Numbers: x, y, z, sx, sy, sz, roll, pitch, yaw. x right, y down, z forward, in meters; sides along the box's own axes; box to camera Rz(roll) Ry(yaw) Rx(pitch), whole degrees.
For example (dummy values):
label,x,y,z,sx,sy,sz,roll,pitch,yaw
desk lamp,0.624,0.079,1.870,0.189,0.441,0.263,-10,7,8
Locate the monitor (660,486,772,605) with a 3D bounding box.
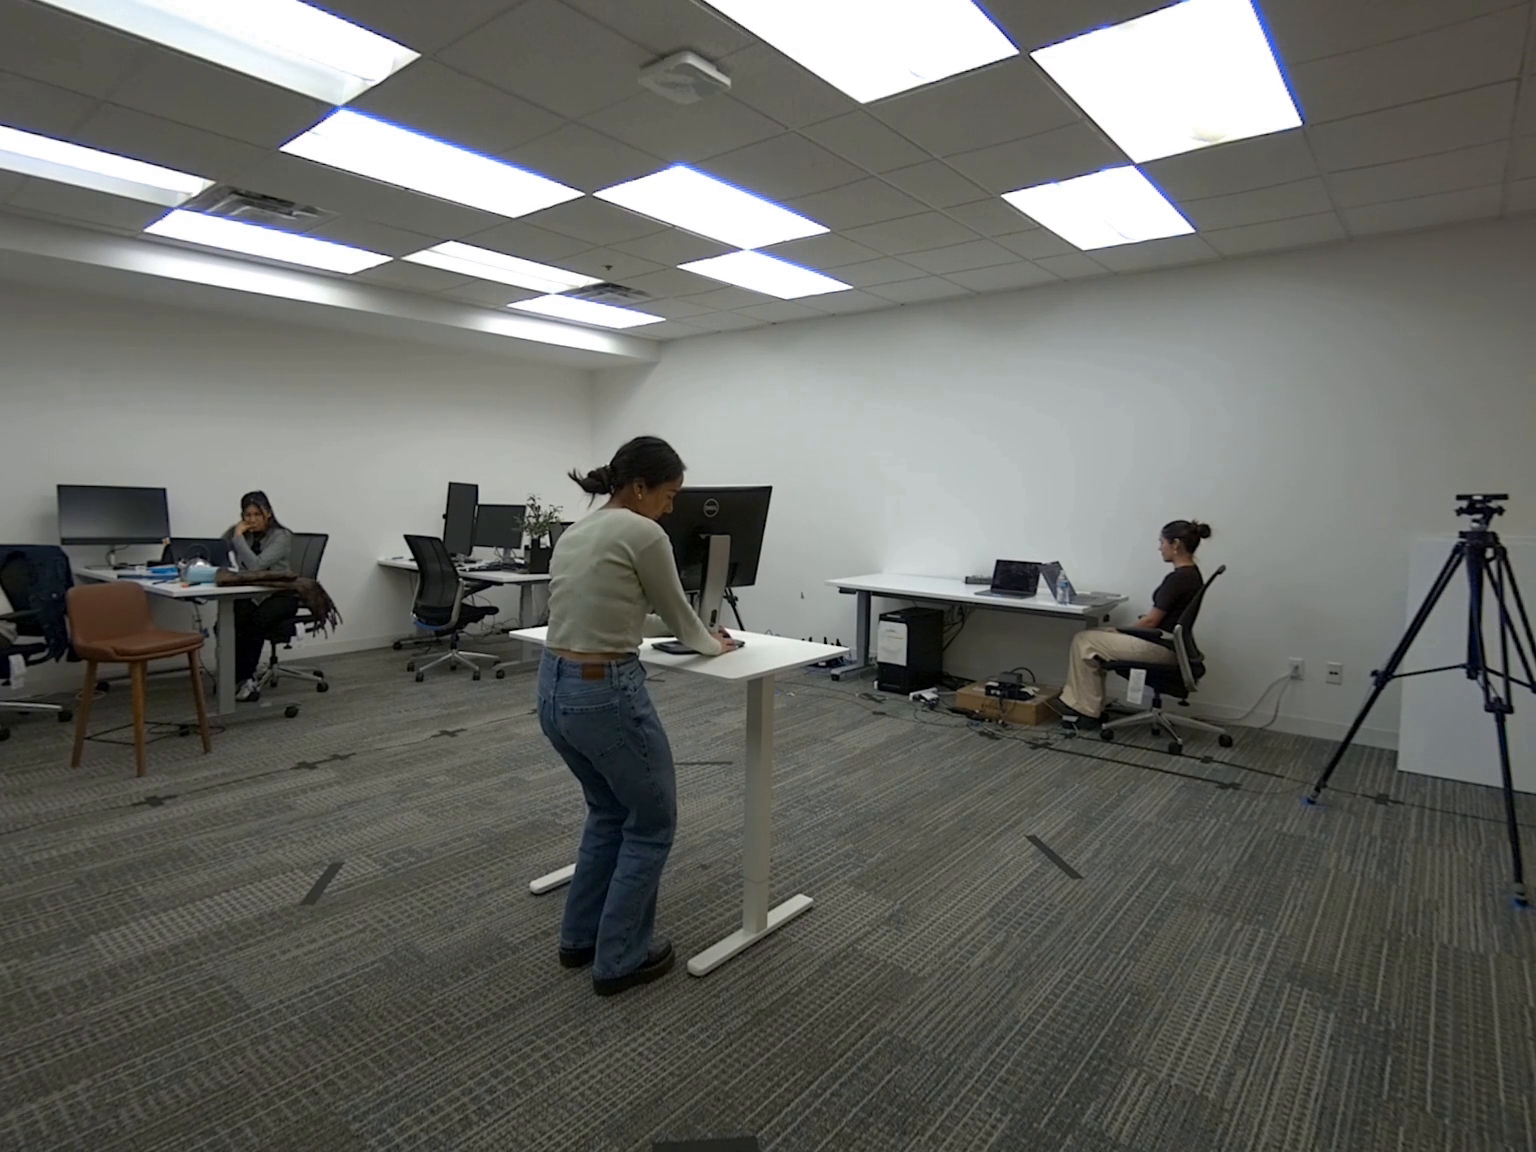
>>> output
label,x,y,z,sx,sy,sz,roll,pitch,yaw
monitor,-0.212,-0.033,2.687,0.515,0.514,0.180,-5,4,-40
